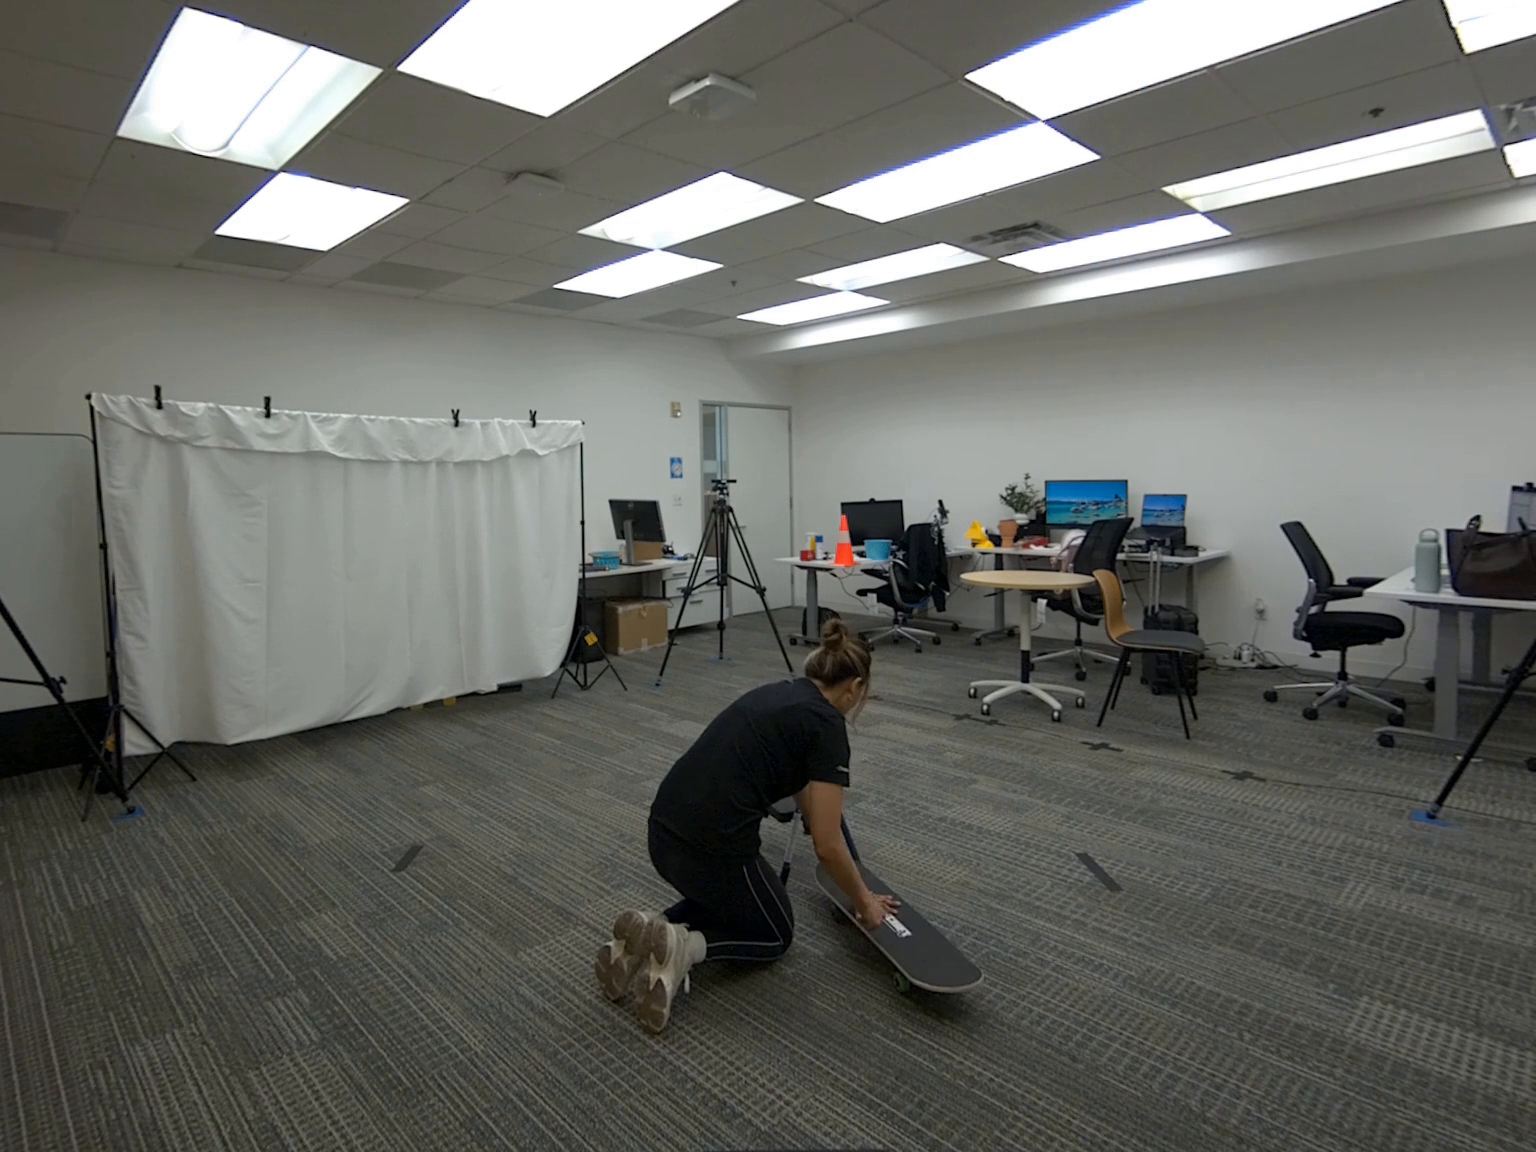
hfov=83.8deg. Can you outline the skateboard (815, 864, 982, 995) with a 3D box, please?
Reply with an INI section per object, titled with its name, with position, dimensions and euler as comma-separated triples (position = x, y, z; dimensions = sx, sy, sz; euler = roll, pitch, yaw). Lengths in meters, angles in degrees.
[skateboard]
position = 0.367, 1.052, 2.525
dimensions = 0.190, 0.110, 0.802
euler = -5, 7, -20
